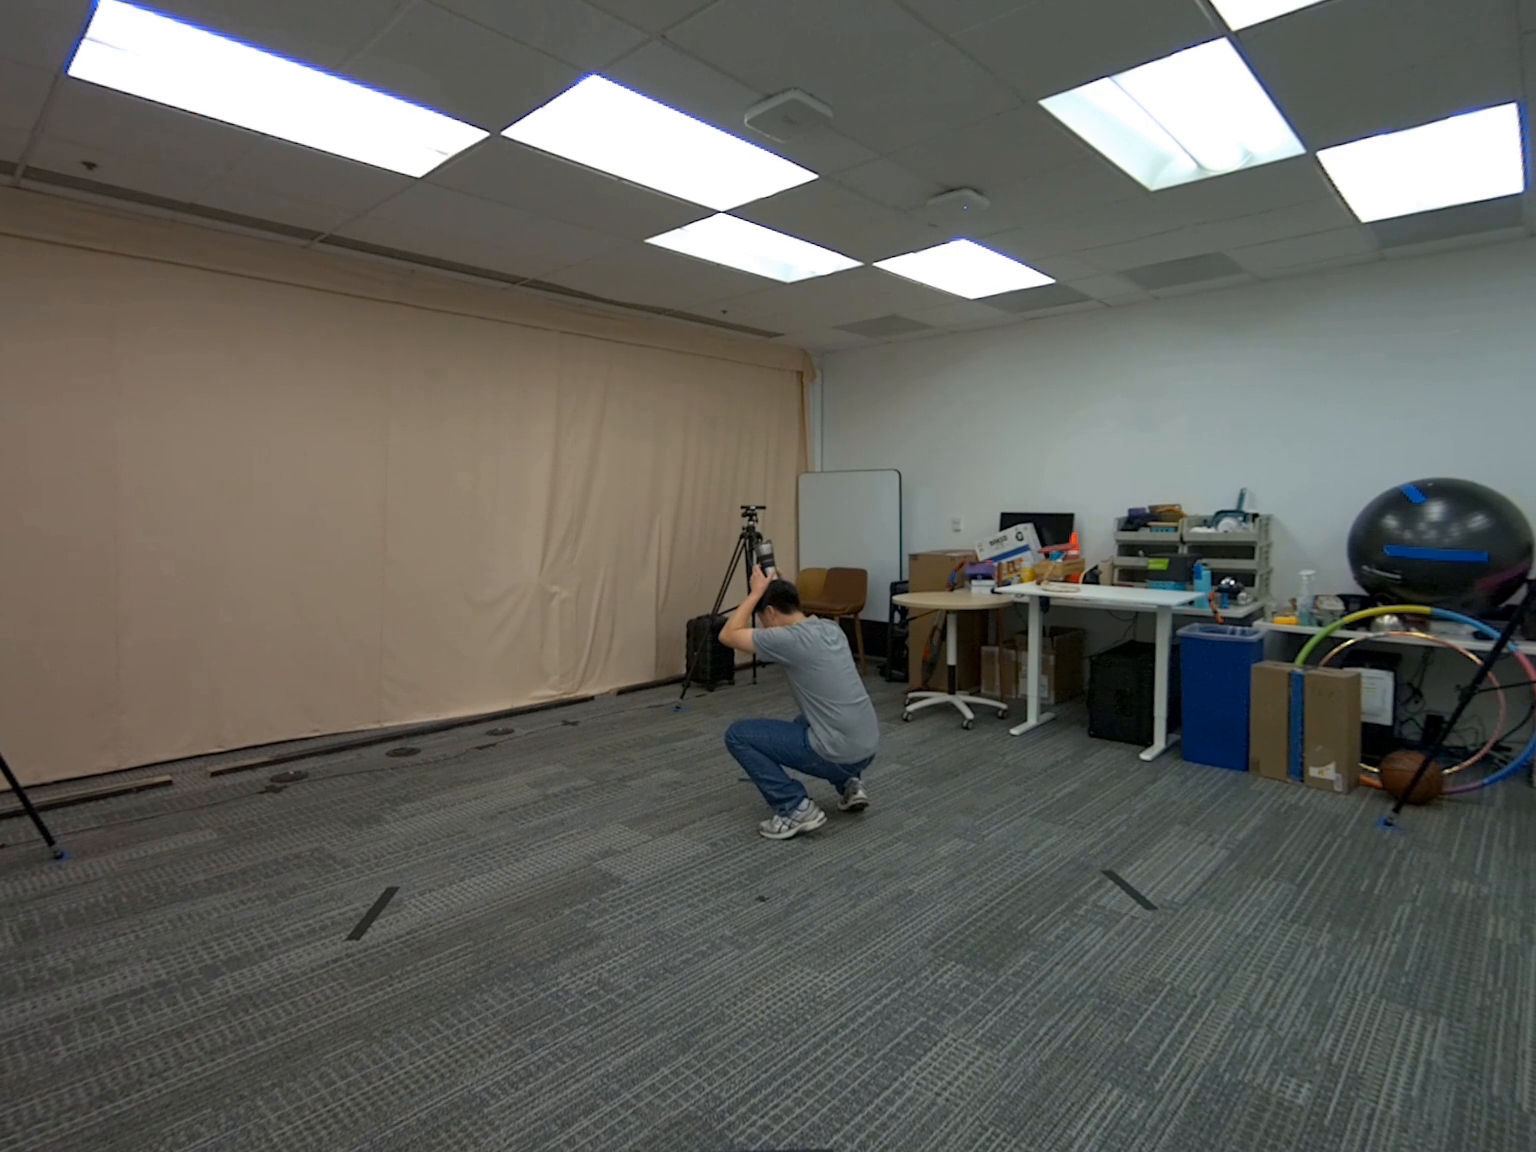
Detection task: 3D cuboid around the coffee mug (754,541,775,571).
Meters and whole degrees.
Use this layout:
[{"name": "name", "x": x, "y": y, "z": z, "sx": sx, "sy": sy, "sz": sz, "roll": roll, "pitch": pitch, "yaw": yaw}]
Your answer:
[{"name": "coffee mug", "x": -0.017, "y": -0.058, "z": 3.868, "sx": 0.125, "sy": 0.204, "sz": 0.085, "roll": -17, "pitch": -7, "yaw": 35}]
